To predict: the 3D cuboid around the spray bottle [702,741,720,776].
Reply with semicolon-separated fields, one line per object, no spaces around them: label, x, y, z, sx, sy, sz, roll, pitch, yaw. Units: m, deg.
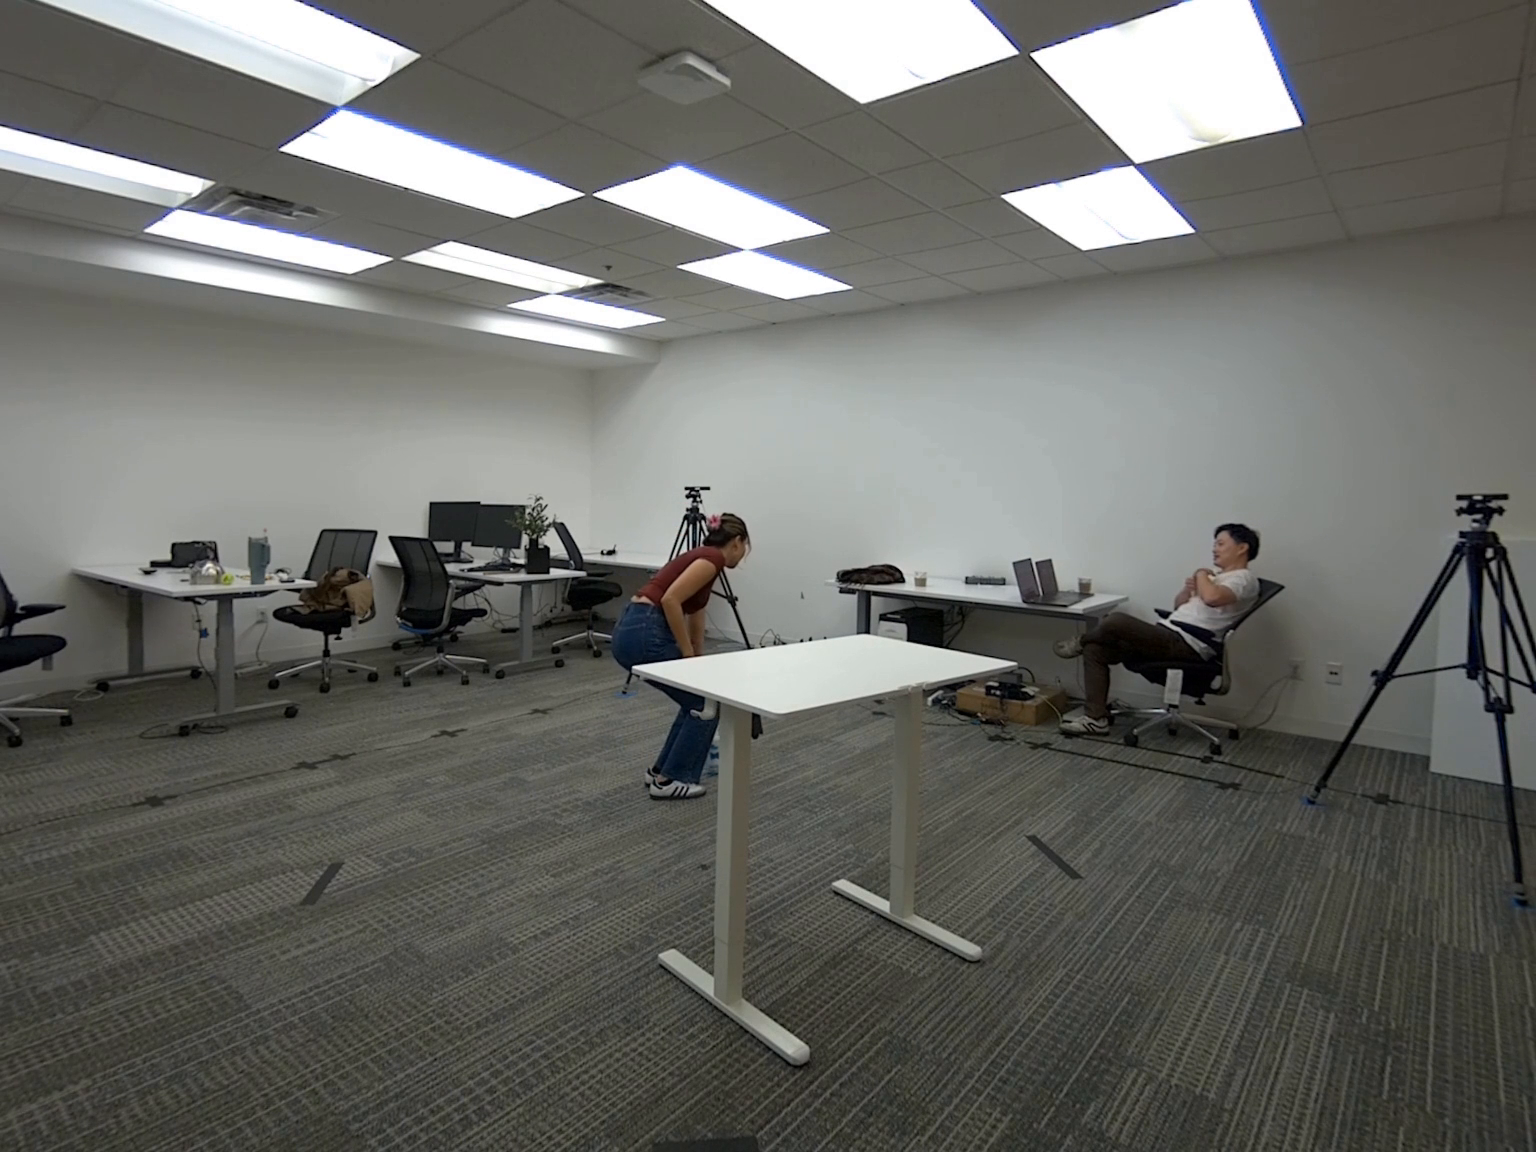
spray bottle;-0.284;0.778;4.143;0.090;0.297;0.087;1;0;41
